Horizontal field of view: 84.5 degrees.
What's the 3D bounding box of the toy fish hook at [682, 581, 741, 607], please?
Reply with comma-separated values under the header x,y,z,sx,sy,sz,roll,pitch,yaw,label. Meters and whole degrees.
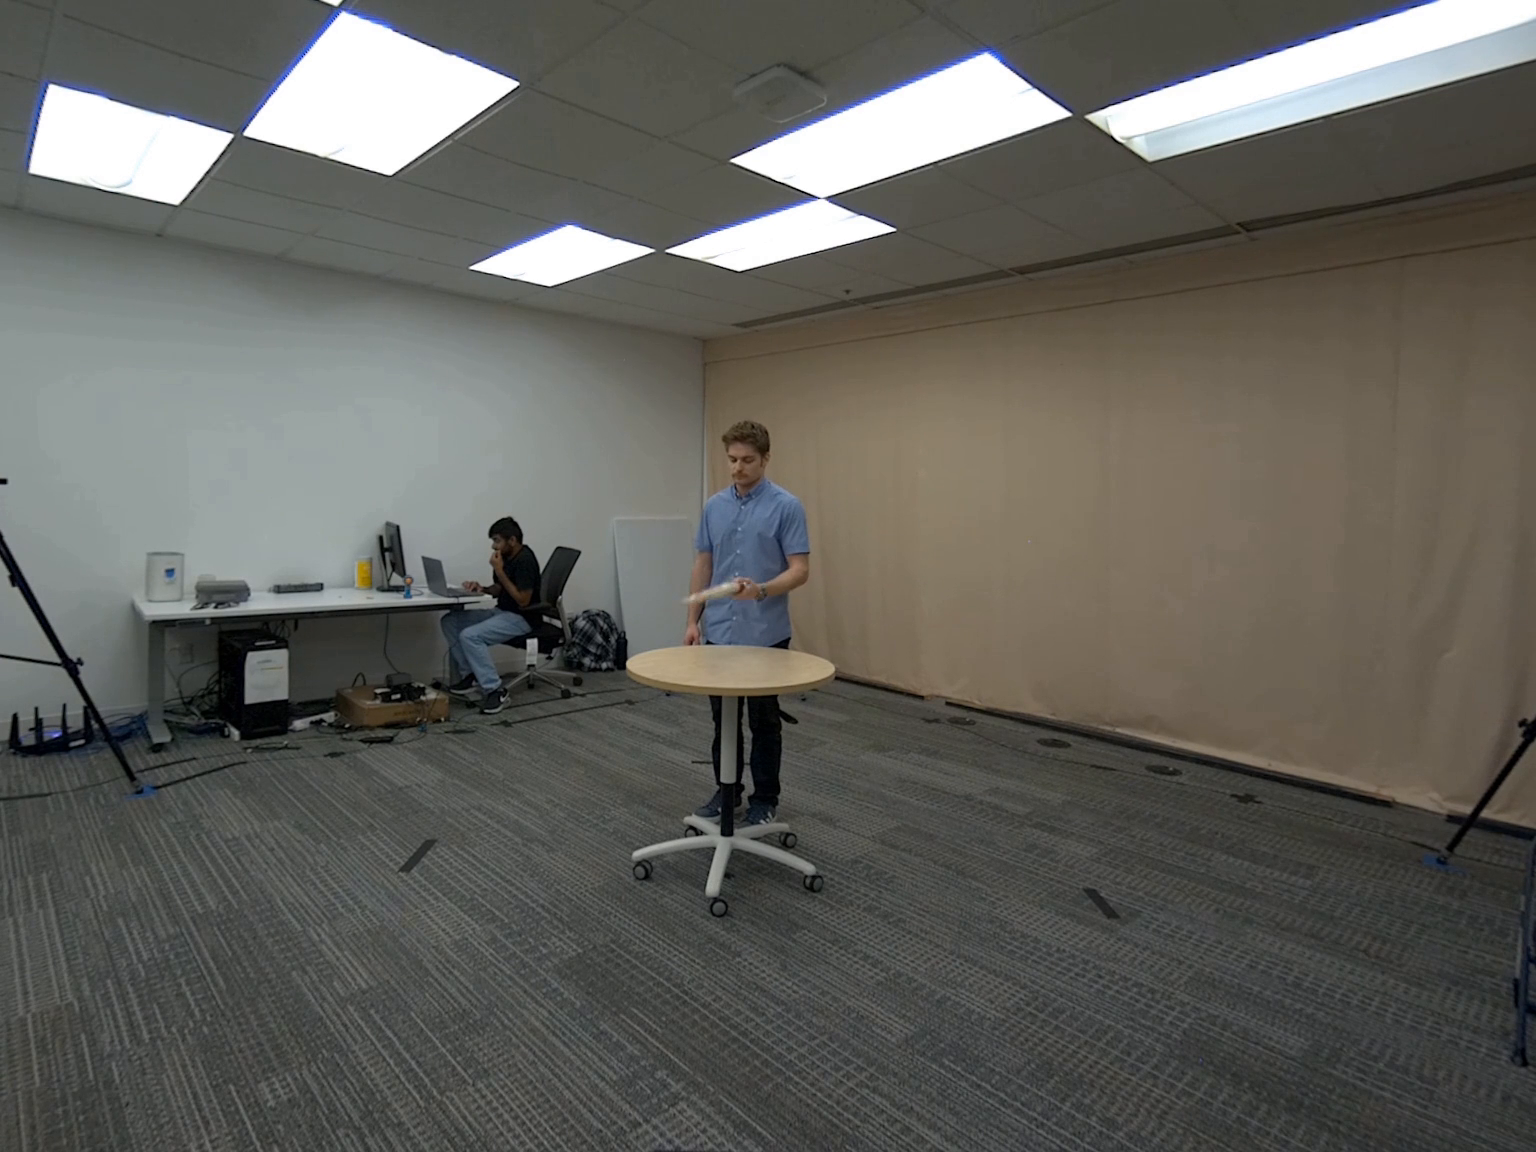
x,y,z,sx,sy,sz,roll,pitch,yaw,label
-0.198,0.044,3.087,0.226,0.048,0.501,-16,-3,11,toy fish hook
